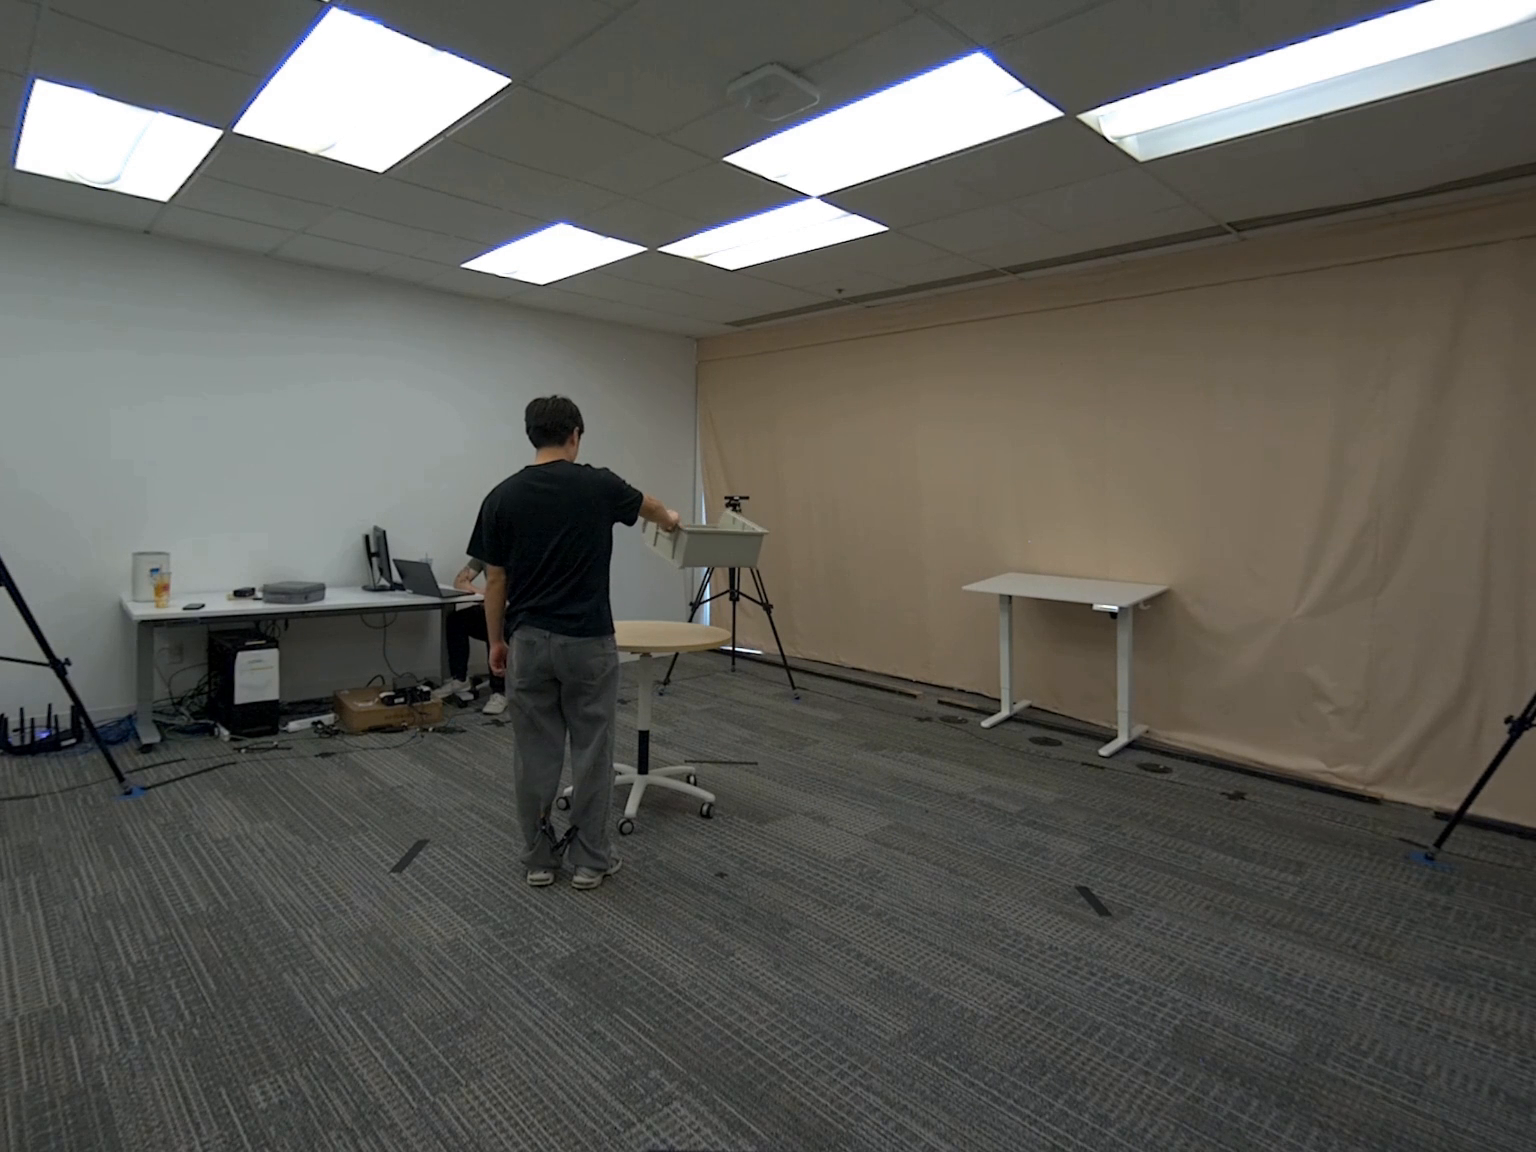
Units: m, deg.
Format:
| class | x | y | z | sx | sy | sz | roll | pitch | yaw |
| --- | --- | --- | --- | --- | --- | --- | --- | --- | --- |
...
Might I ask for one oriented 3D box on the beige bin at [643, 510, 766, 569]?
| class | x | y | z | sx | sy | sz | roll | pitch | yaw |
| --- | --- | --- | --- | --- | --- | --- | --- | --- | --- |
| beige bin | -0.289 | -0.171 | 3.703 | 0.413 | 0.187 | 0.389 | 1 | 20 | -35 |
